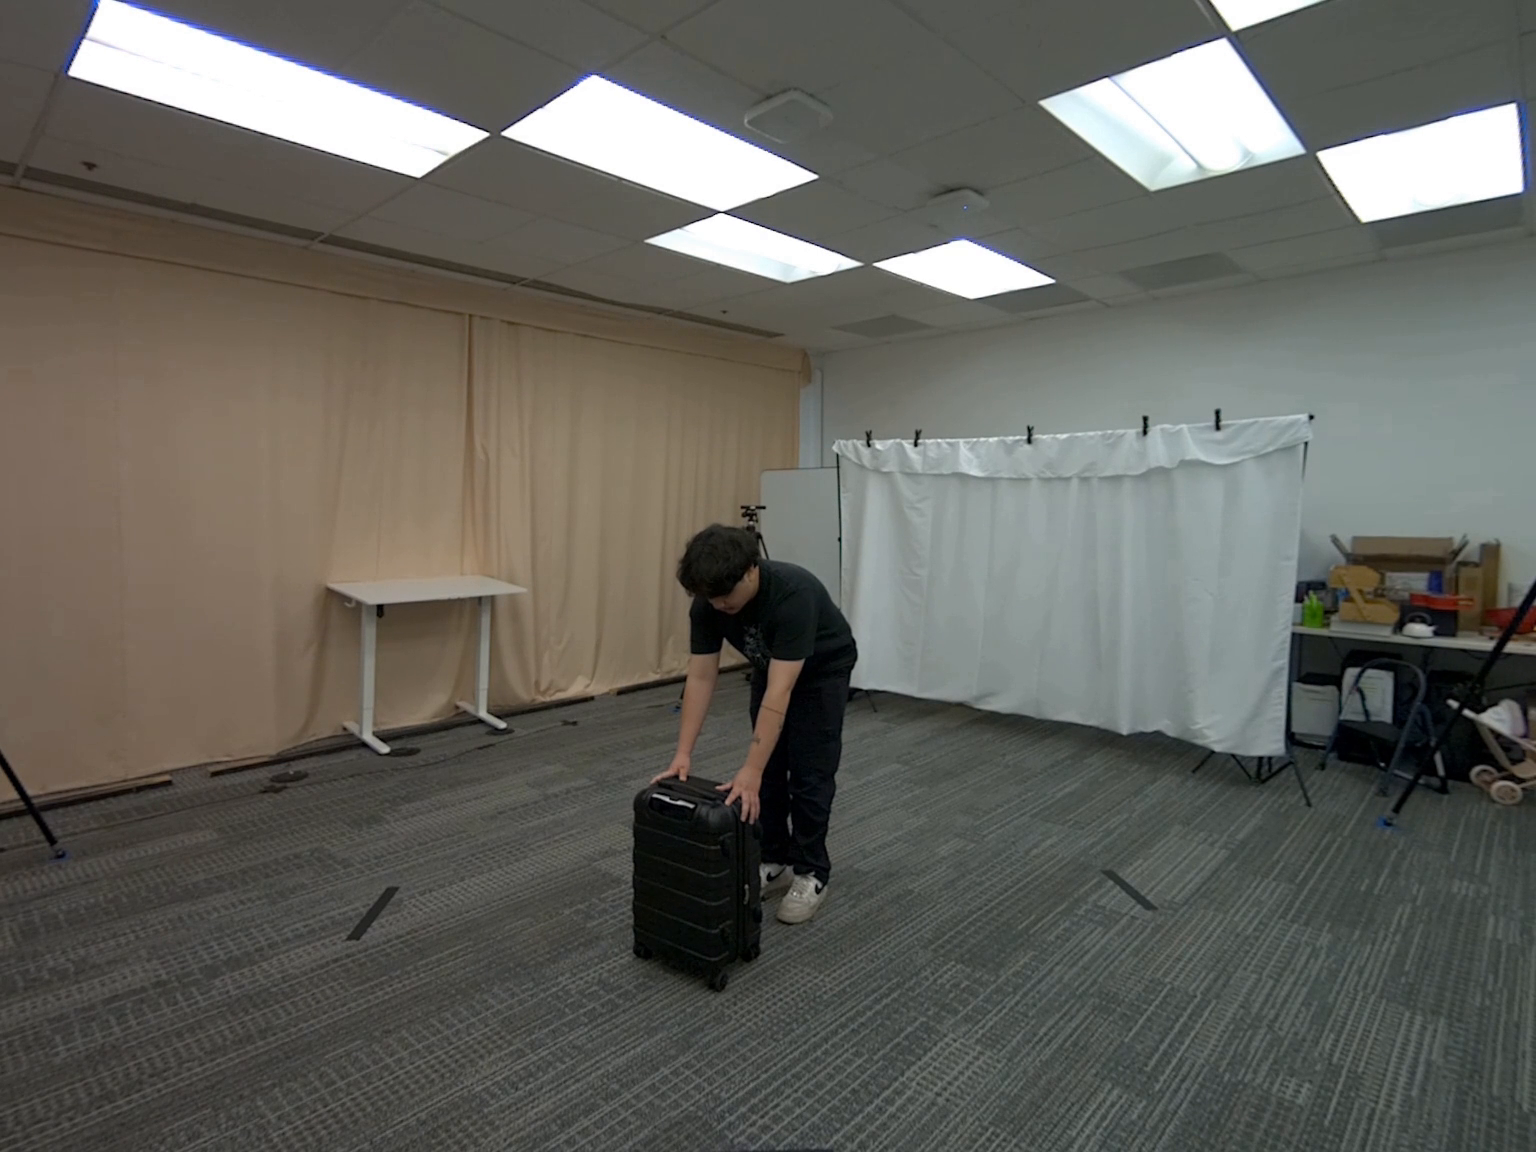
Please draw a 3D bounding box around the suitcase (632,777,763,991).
[{"bbox_3d":[-0.223,0.908,2.566,0.387,0.548,0.241,2,4,35],"label":"suitcase"}]
